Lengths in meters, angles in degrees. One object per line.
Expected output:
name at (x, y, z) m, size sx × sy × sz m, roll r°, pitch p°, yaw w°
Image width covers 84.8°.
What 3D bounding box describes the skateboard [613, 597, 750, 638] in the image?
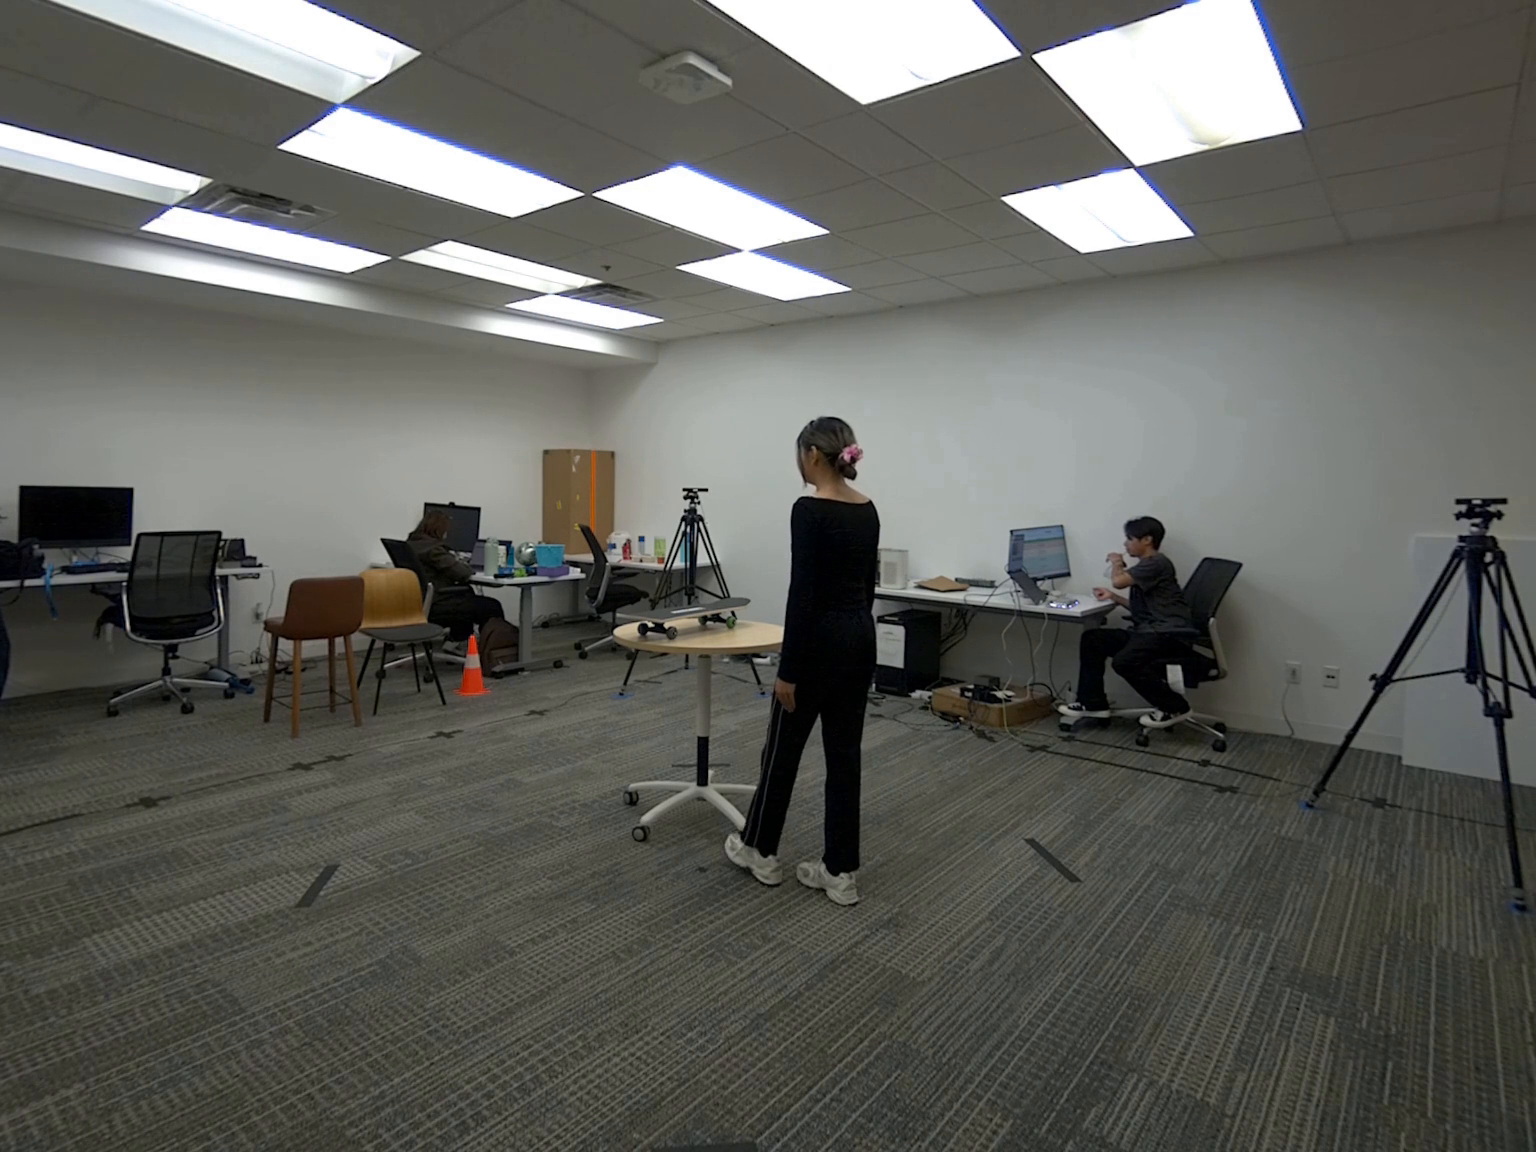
skateboard at (-0.346, 0.182, 3.575) m, size 0.199 × 0.110 × 0.764 m, roll 2°, pitch 5°, yaw 34°
